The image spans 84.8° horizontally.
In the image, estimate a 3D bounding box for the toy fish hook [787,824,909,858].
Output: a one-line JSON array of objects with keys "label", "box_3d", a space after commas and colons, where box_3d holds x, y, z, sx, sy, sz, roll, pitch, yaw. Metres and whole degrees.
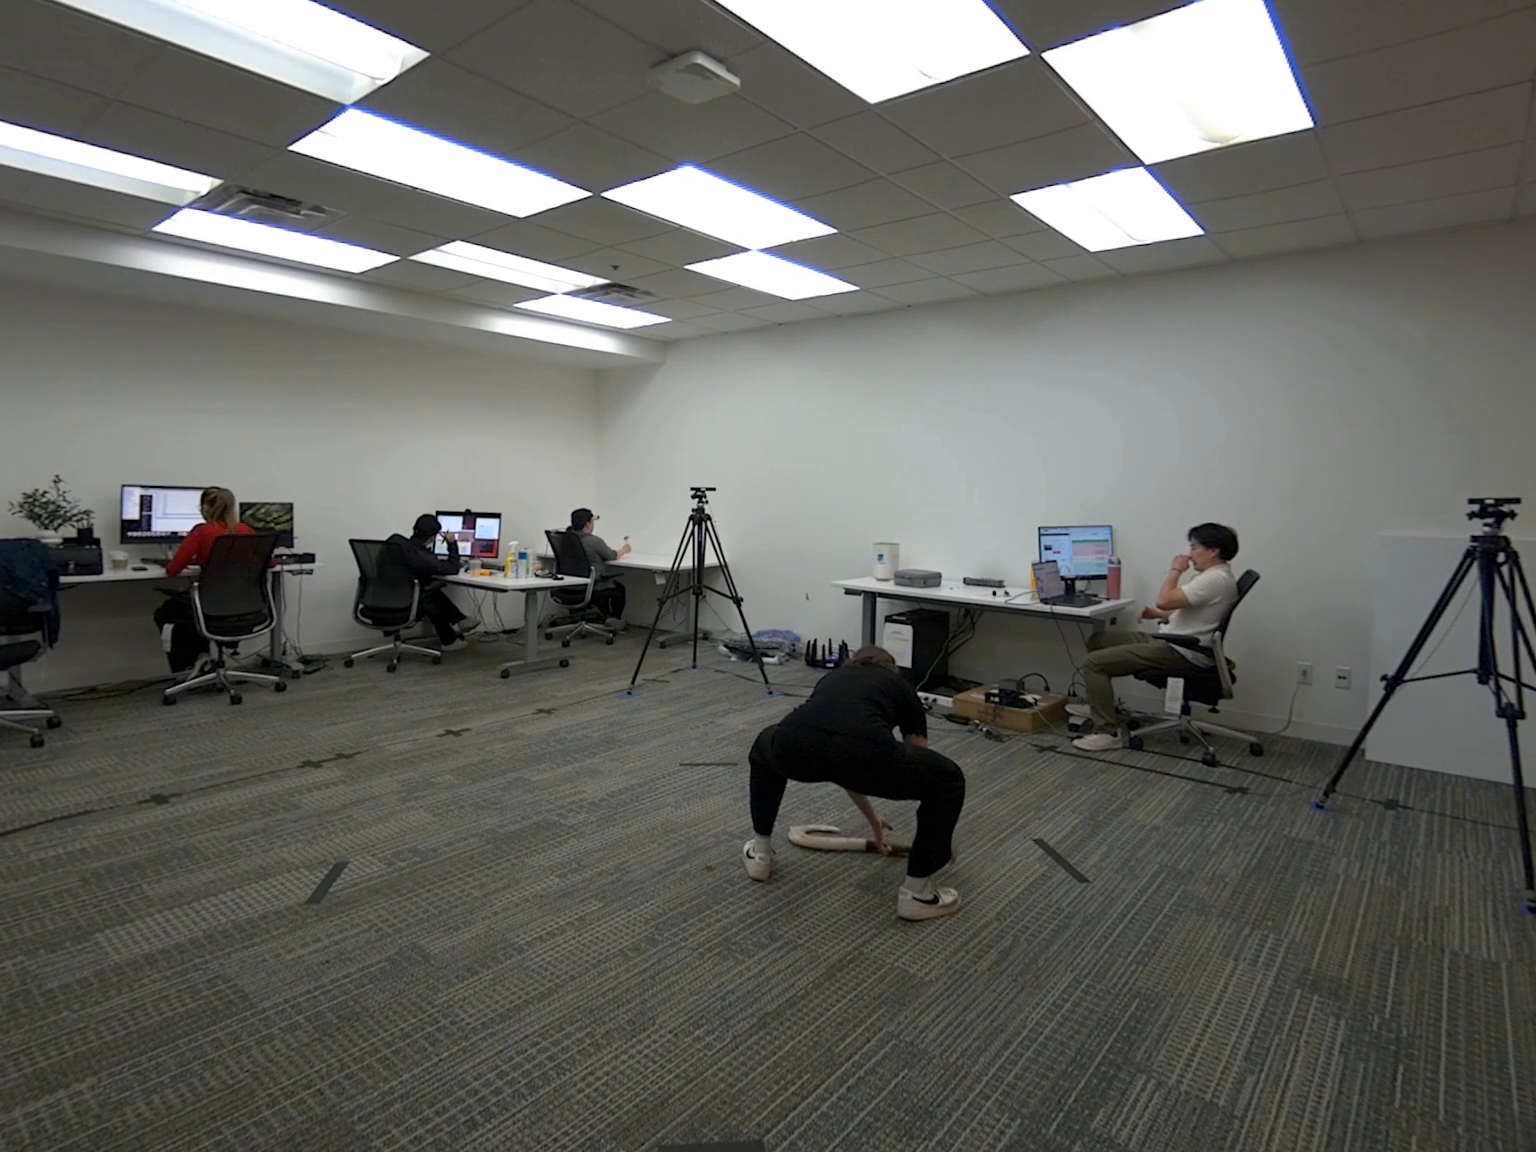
[{"label": "toy fish hook", "box_3d": [0.325, 1.030, 3.354, 0.514, 0.048, 0.222, 3, 7, 13]}]
